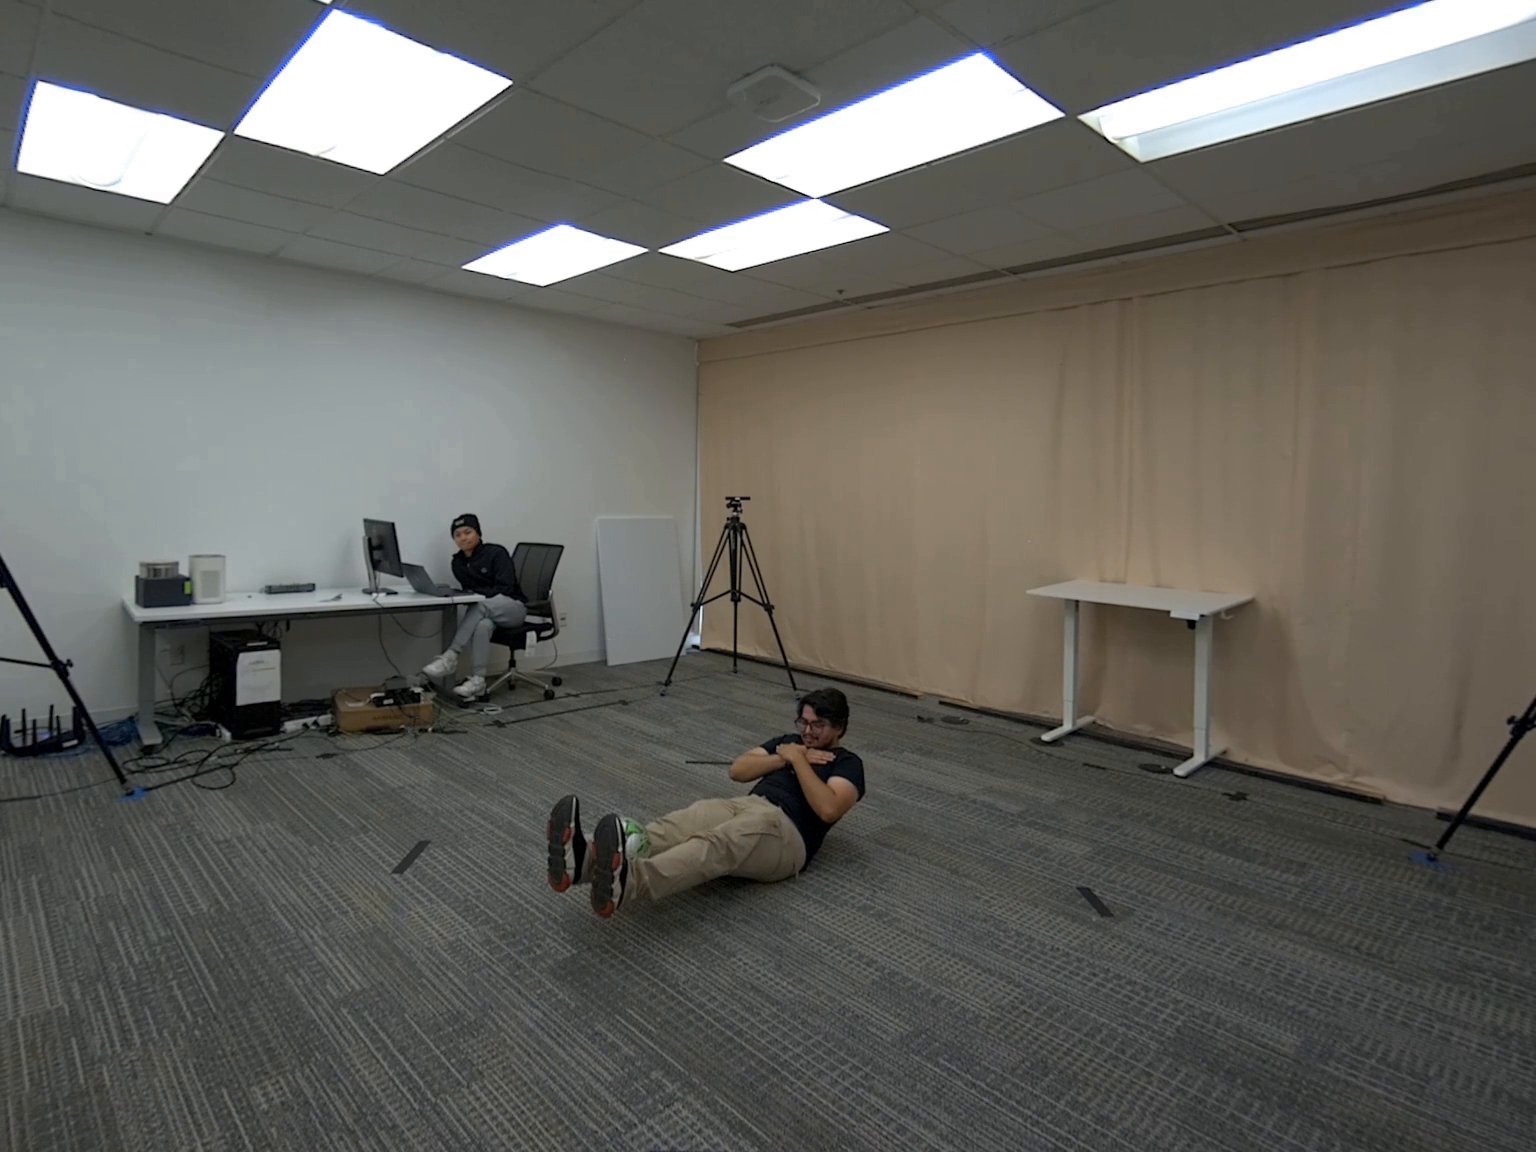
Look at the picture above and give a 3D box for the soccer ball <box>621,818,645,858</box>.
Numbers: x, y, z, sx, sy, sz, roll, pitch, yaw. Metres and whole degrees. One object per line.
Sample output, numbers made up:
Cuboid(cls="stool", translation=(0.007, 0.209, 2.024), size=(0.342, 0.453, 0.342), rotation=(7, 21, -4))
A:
Cuboid(cls="soccer ball", translation=(-0.479, 0.878, 2.705), size=(0.187, 0.187, 0.188), rotation=(1, 5, -1))
